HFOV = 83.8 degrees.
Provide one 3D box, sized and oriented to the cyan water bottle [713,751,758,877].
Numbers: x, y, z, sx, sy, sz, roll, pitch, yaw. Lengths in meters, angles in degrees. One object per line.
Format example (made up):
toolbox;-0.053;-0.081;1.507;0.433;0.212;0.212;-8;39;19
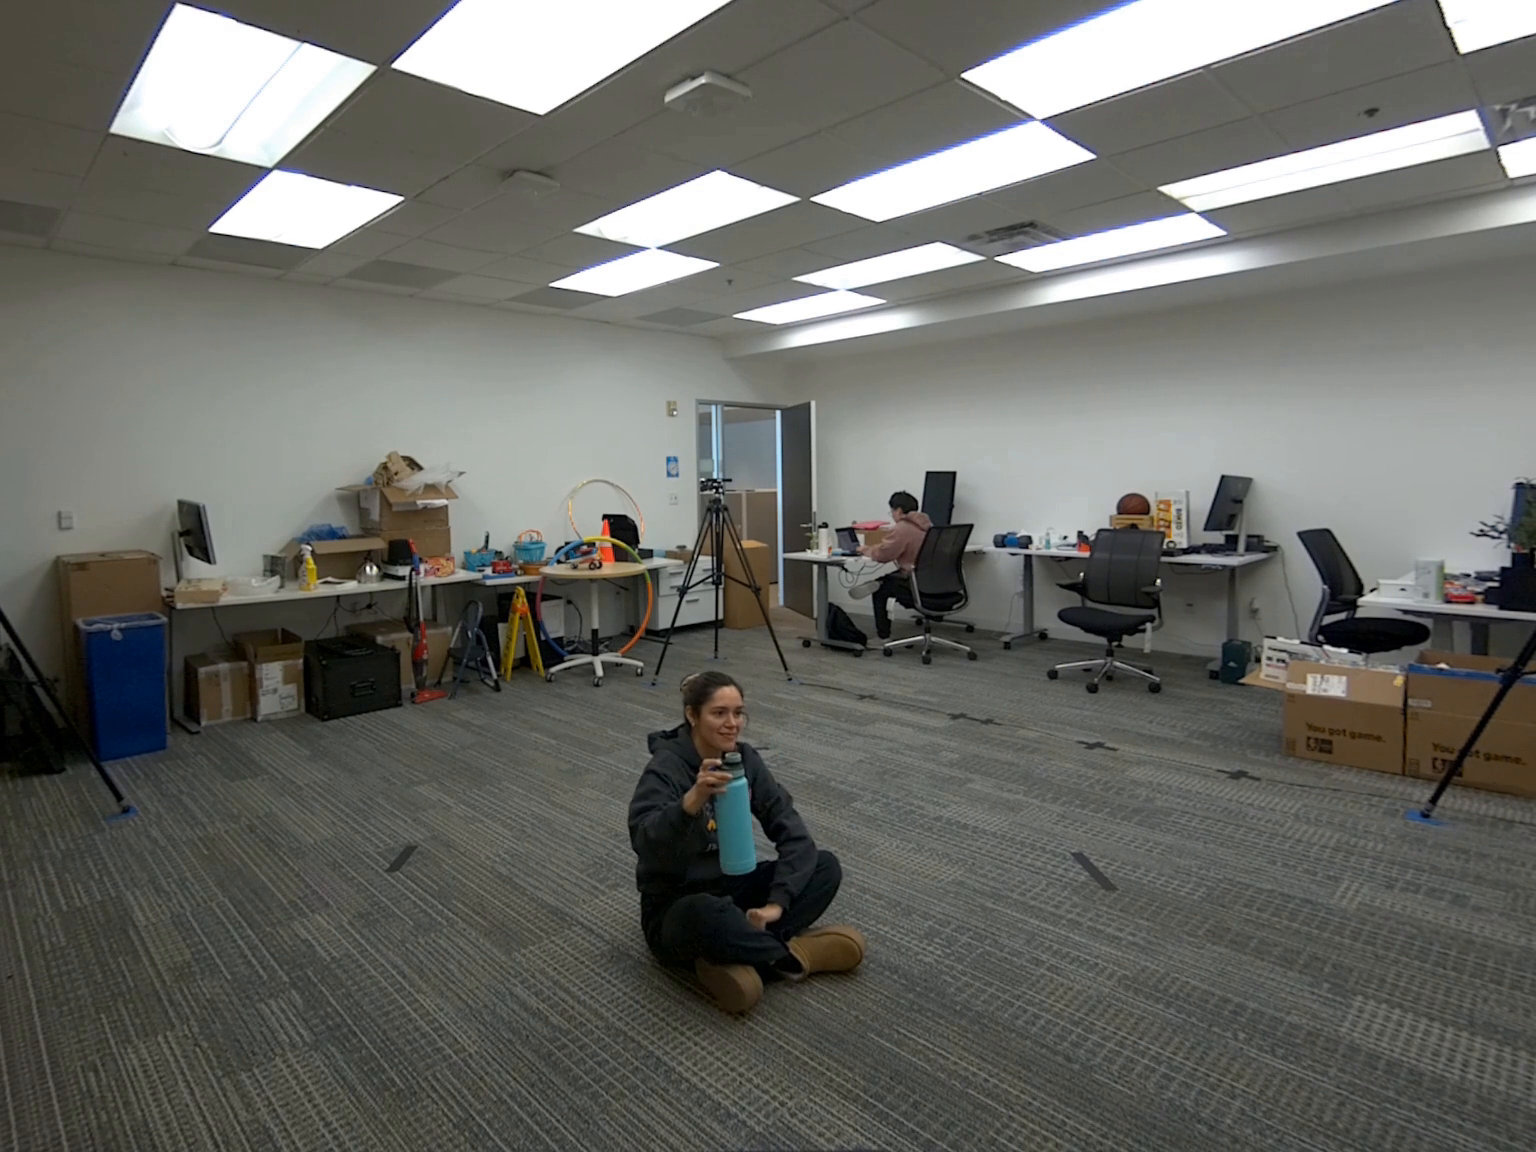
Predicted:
cyan water bottle;-0.081;0.595;2.126;0.092;0.283;0.092;-5;0;-2
